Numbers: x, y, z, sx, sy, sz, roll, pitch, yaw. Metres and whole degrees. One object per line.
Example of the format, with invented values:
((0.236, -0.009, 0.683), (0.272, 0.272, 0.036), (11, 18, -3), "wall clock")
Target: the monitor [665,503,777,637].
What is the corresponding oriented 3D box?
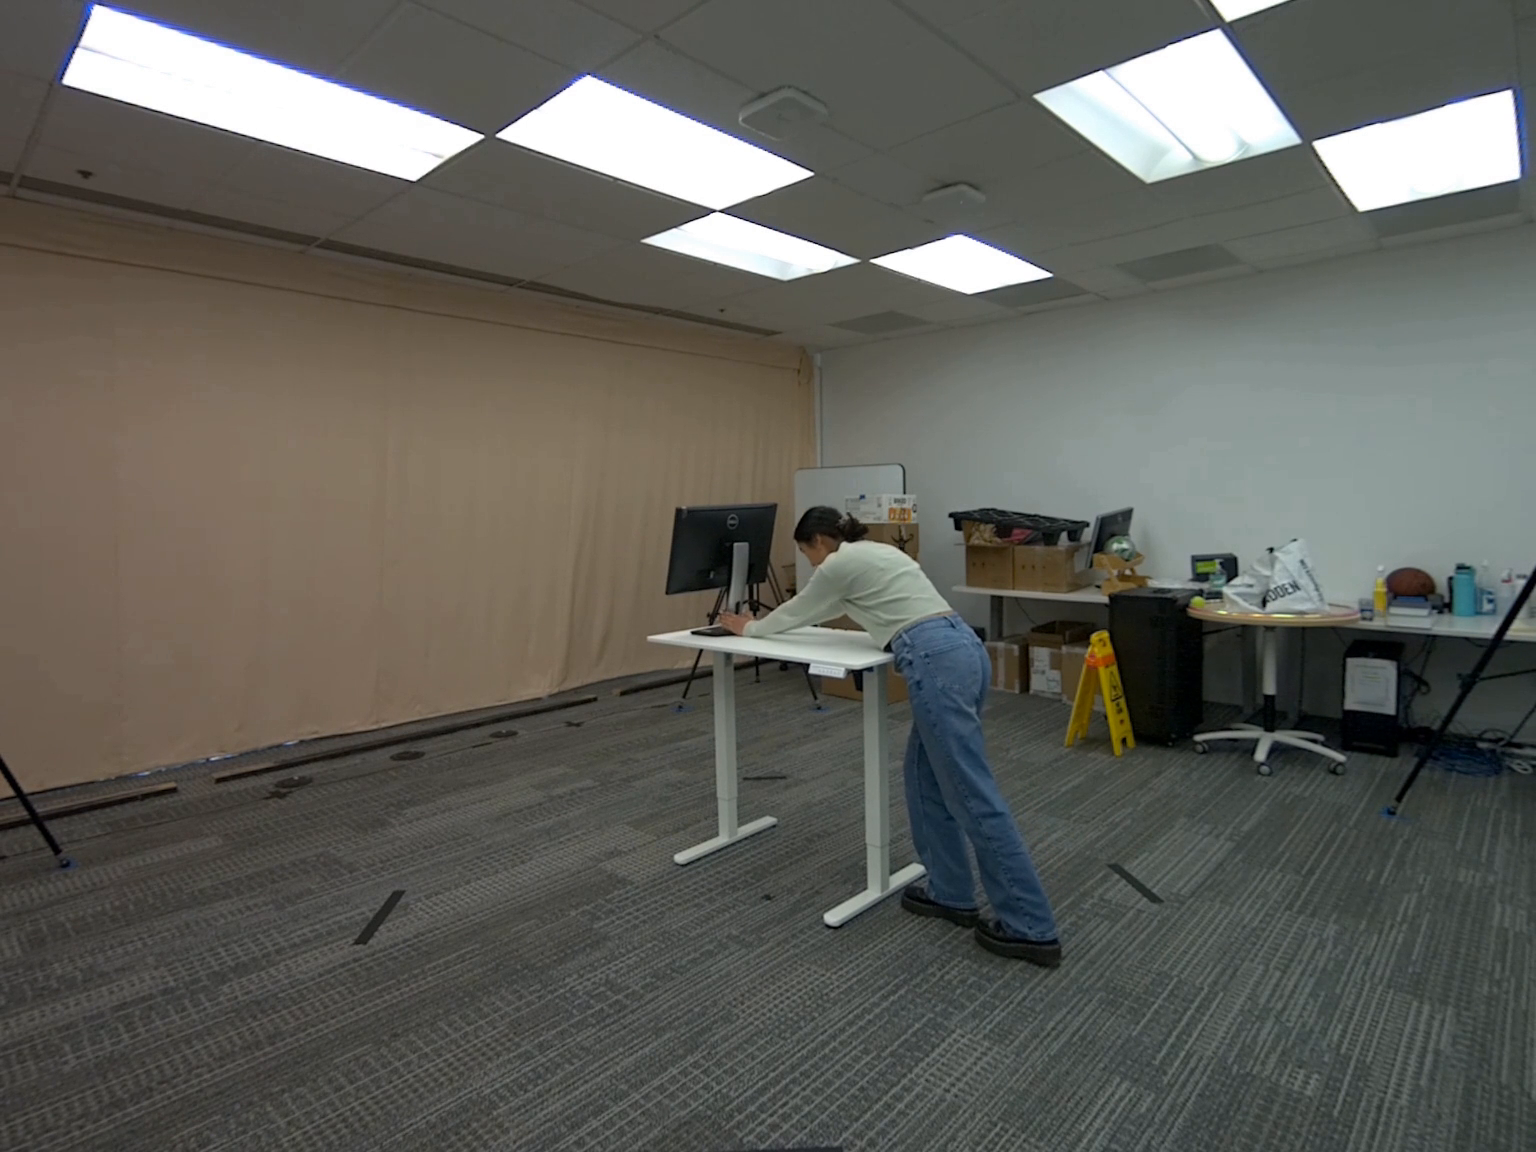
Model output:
((-0.155, -0.025, 3.394), (0.523, 0.521, 0.193), (-6, 7, -44), "monitor")
